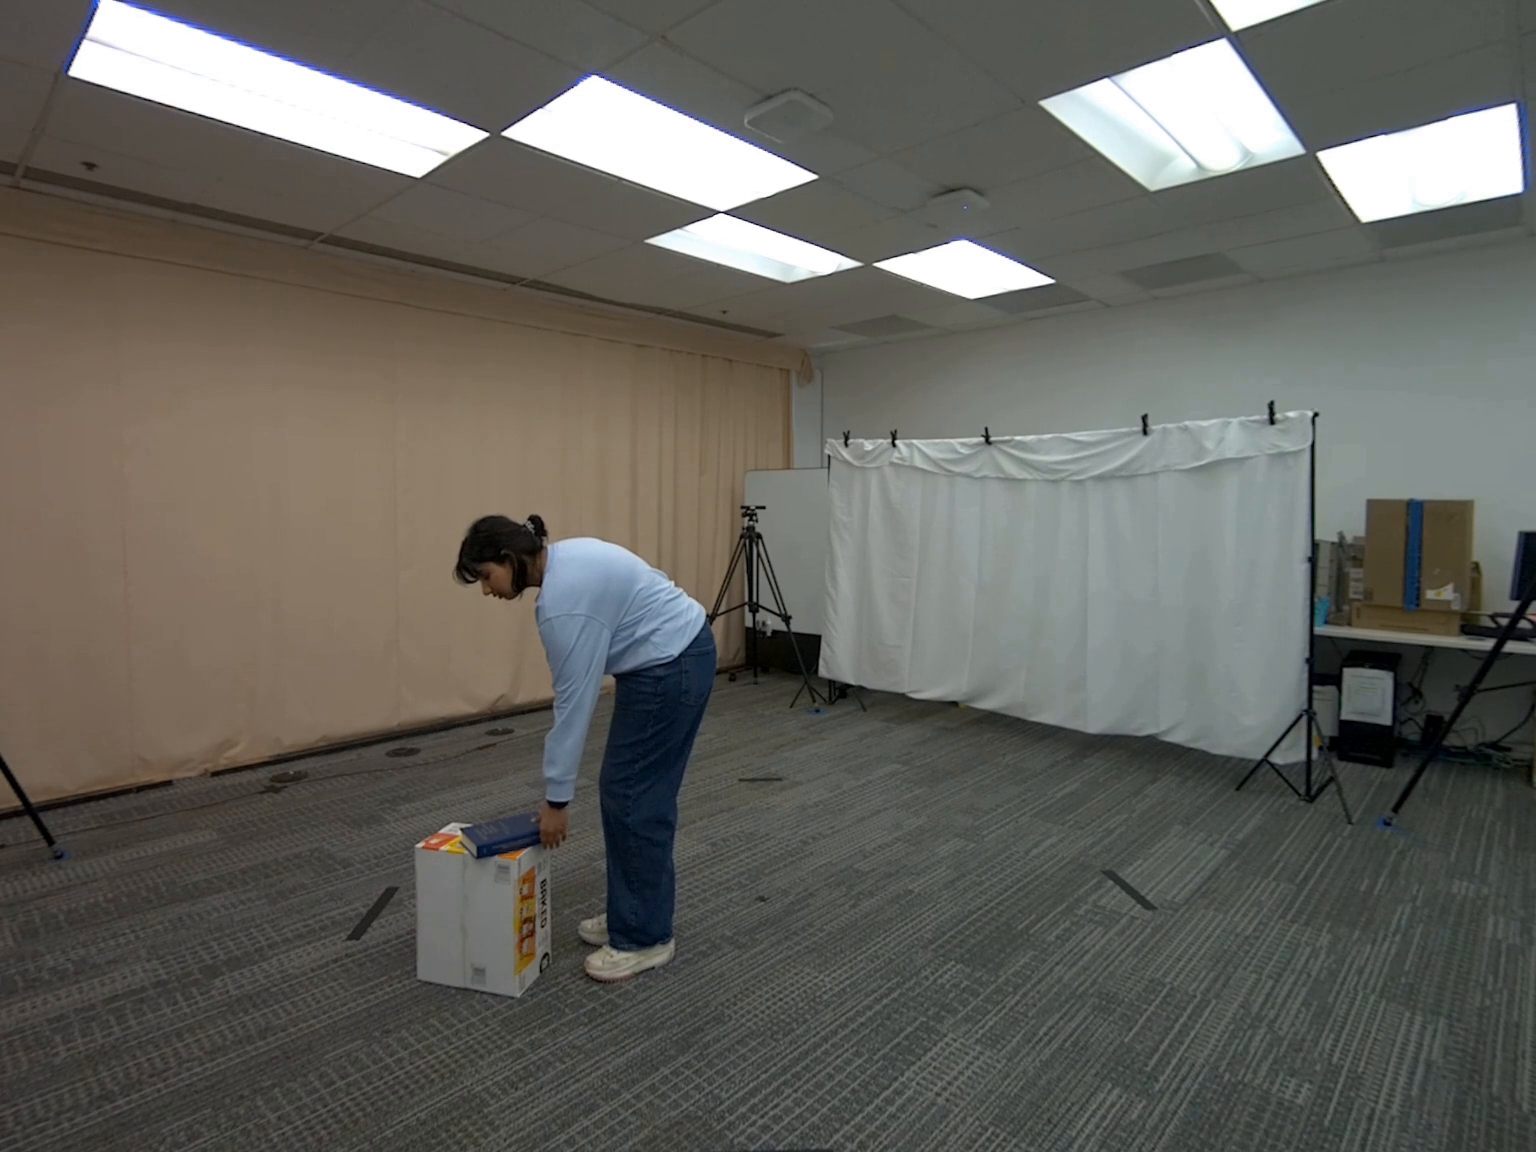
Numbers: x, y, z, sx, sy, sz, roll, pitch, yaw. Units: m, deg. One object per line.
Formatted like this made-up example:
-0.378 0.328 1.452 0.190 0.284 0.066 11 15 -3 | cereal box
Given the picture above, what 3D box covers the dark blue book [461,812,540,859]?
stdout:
-0.767 0.769 2.487 0.238 0.045 0.168 -4 4 -35 | dark blue book
